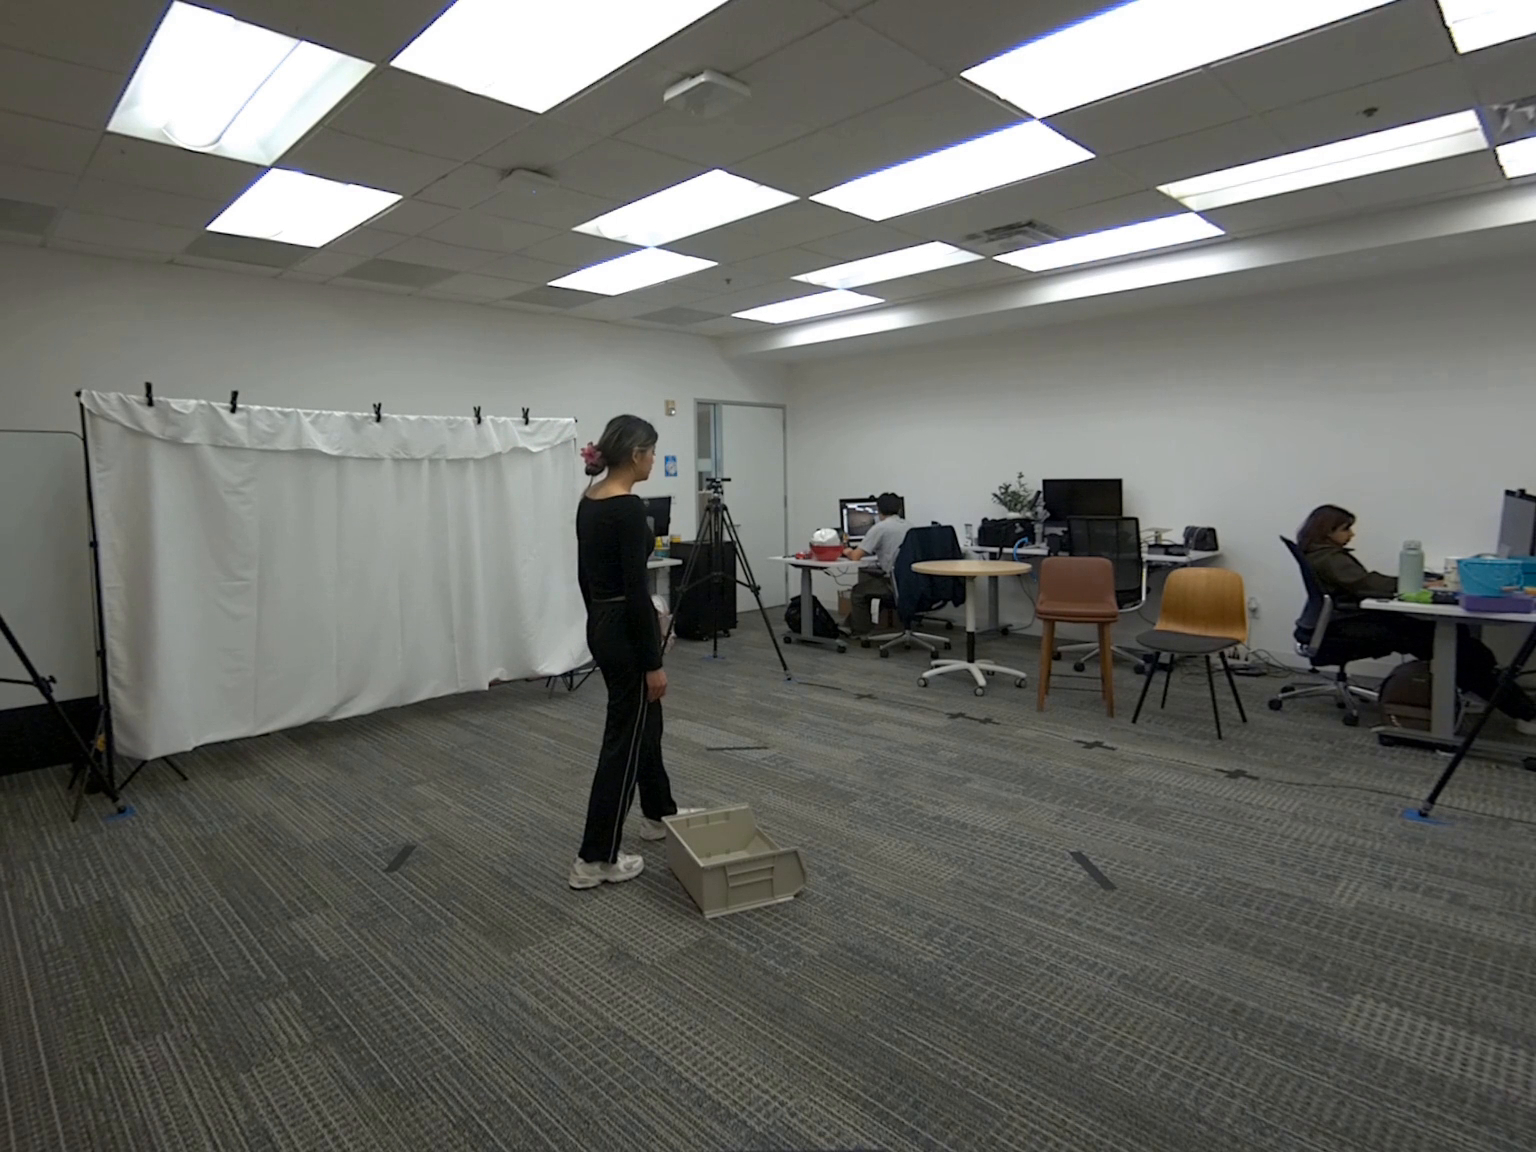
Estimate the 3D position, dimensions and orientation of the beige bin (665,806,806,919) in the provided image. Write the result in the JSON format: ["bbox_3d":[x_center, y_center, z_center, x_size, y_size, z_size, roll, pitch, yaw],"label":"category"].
[{"bbox_3d":[-0.124,0.971,2.963,0.370,0.188,0.433,-5,8,-23],"label":"beige bin"}]
